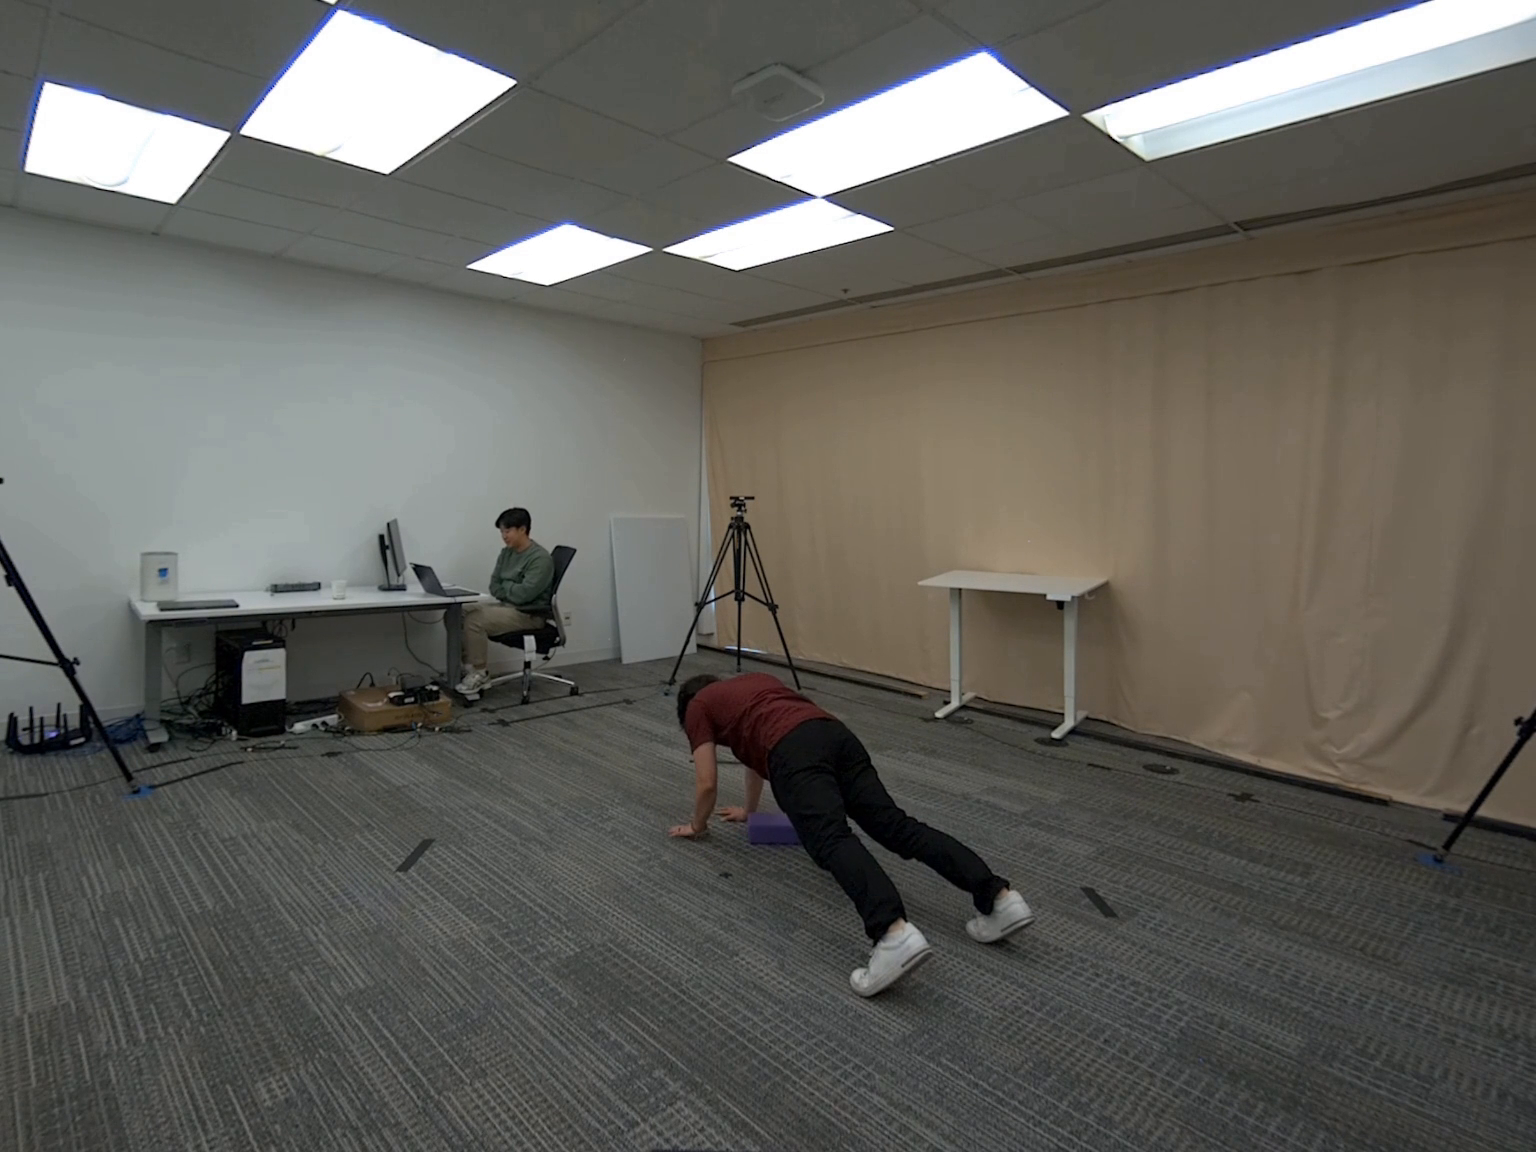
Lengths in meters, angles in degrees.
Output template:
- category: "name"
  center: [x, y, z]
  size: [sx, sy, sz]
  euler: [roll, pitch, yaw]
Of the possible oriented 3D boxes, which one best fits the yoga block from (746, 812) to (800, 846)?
- category: "yoga block"
  center: [0.026, 1.038, 3.463]
  size: [0.229, 0.076, 0.149]
  euler: [2, 5, -2]
